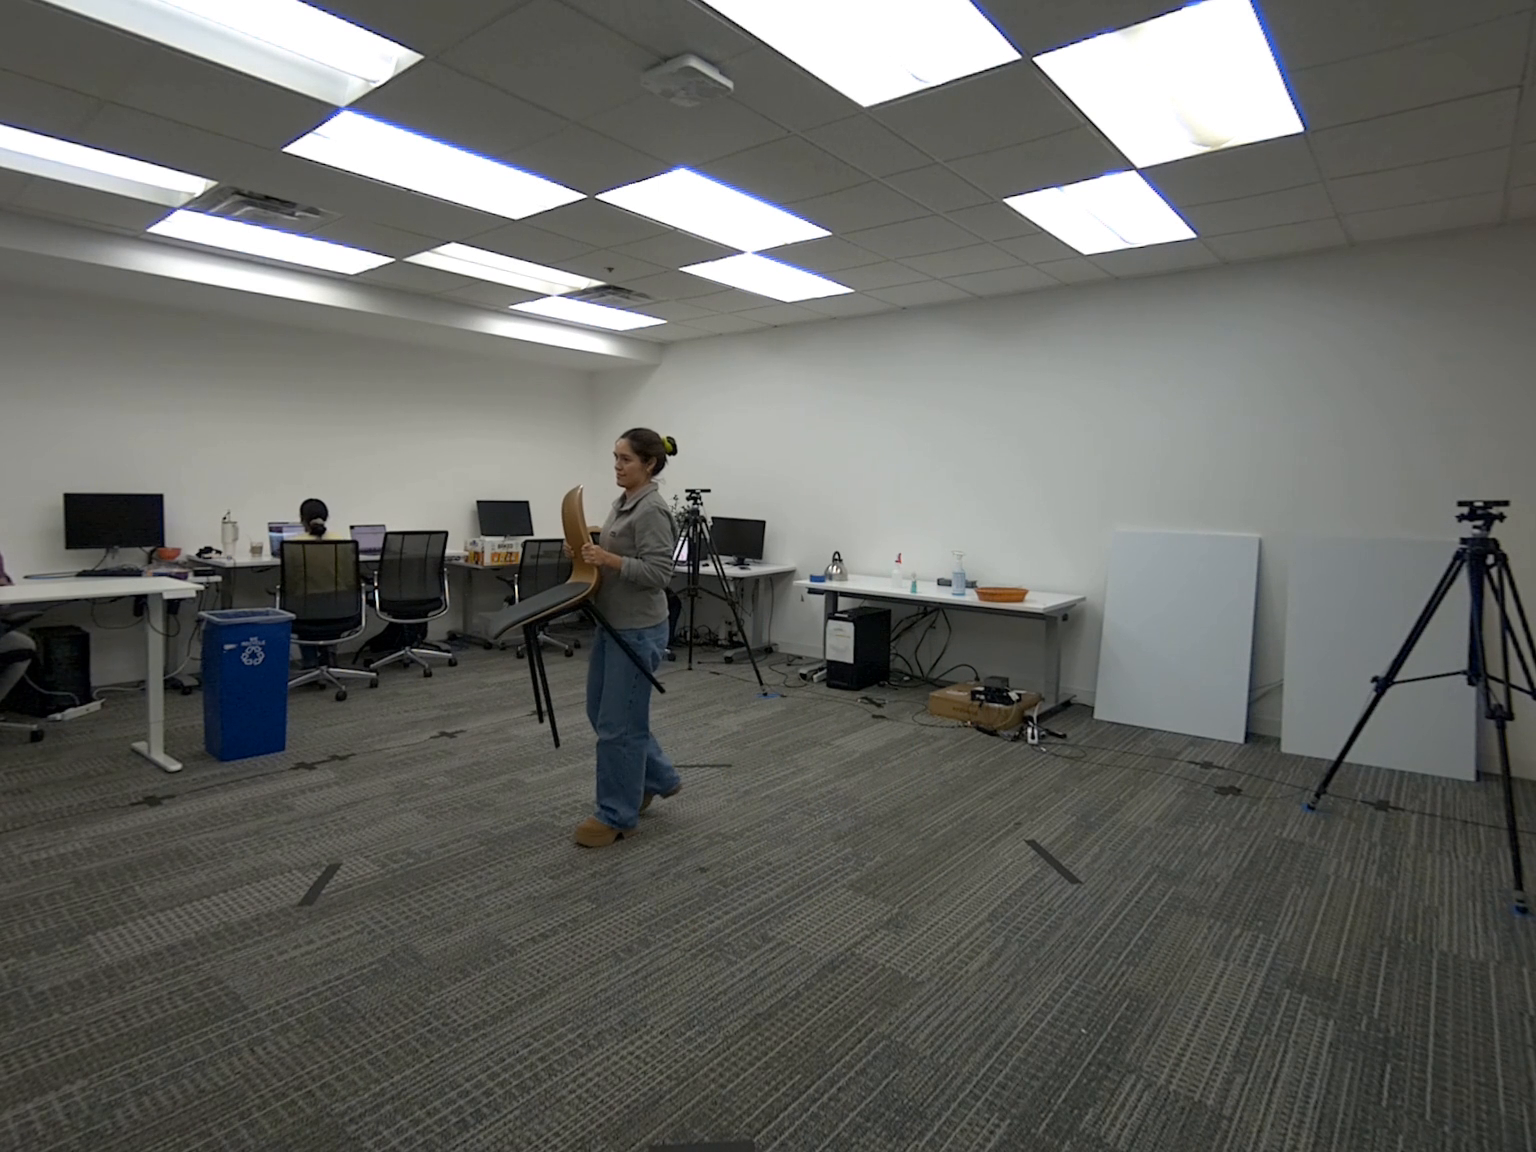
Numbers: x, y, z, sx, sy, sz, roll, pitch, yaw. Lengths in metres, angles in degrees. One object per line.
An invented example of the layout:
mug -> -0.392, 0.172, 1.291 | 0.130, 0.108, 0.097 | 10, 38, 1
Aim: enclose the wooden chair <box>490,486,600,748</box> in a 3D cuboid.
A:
wooden chair -> -0.842, 0.146, 3.314 | 0.517, 0.869, 0.488 | -21, 8, -20
